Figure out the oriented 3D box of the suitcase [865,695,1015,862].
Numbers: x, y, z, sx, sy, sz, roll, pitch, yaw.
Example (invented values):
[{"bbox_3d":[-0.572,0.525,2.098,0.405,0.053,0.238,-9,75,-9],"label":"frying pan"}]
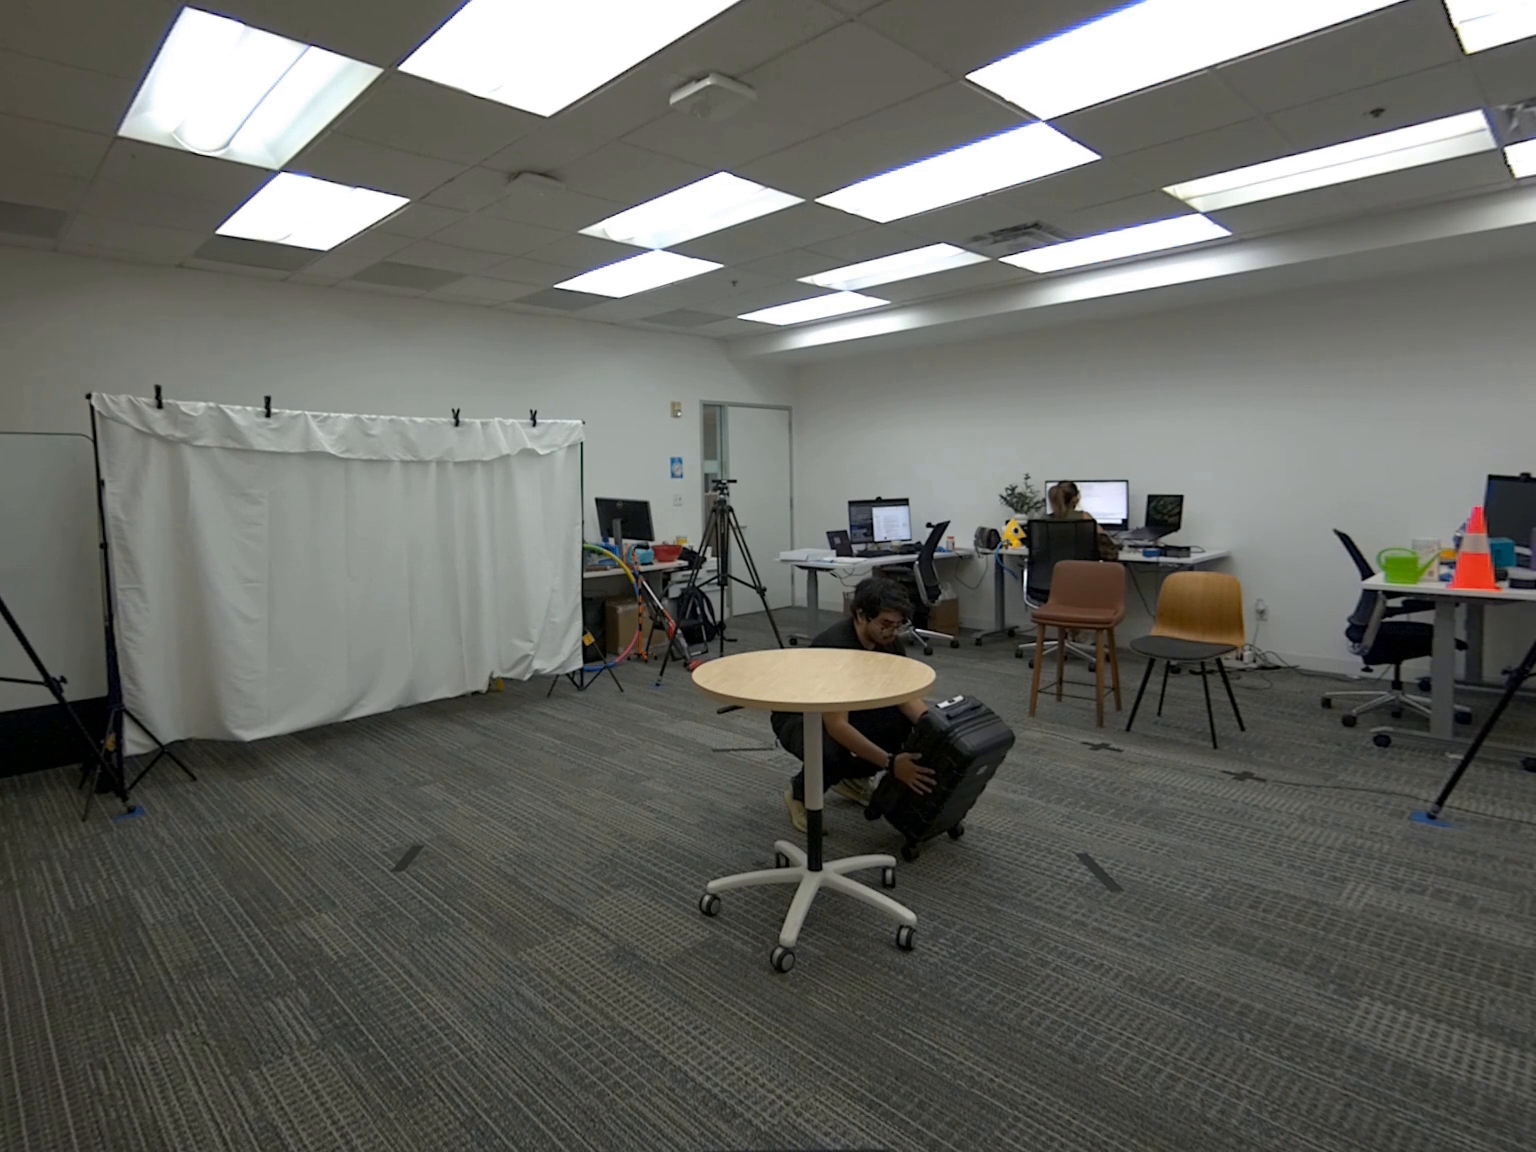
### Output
[{"bbox_3d":[0.653,0.729,3.152,0.365,0.543,0.258,-5,37,-44],"label":"suitcase"}]
